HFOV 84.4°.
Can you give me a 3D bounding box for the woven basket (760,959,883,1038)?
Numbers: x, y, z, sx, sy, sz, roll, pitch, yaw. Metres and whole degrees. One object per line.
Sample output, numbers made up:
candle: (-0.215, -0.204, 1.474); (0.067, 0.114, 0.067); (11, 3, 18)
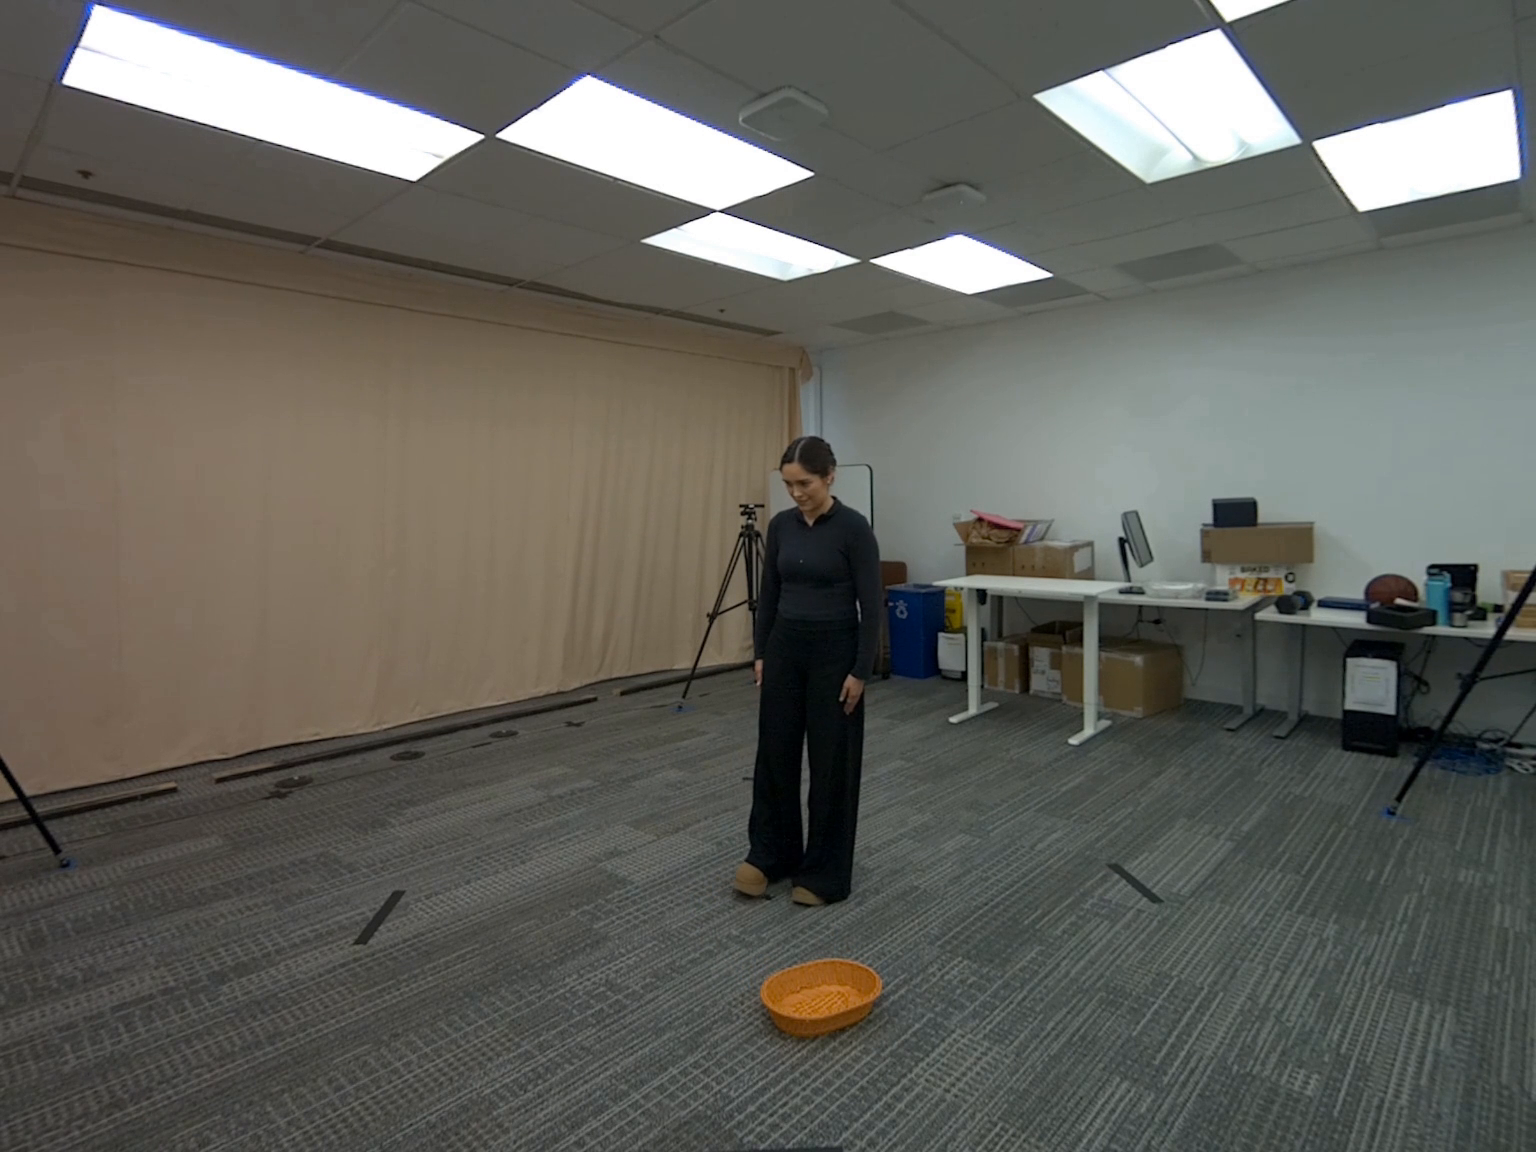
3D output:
woven basket: (0.143, 1.151, 2.311); (0.341, 0.073, 0.259); (-3, 5, -28)
